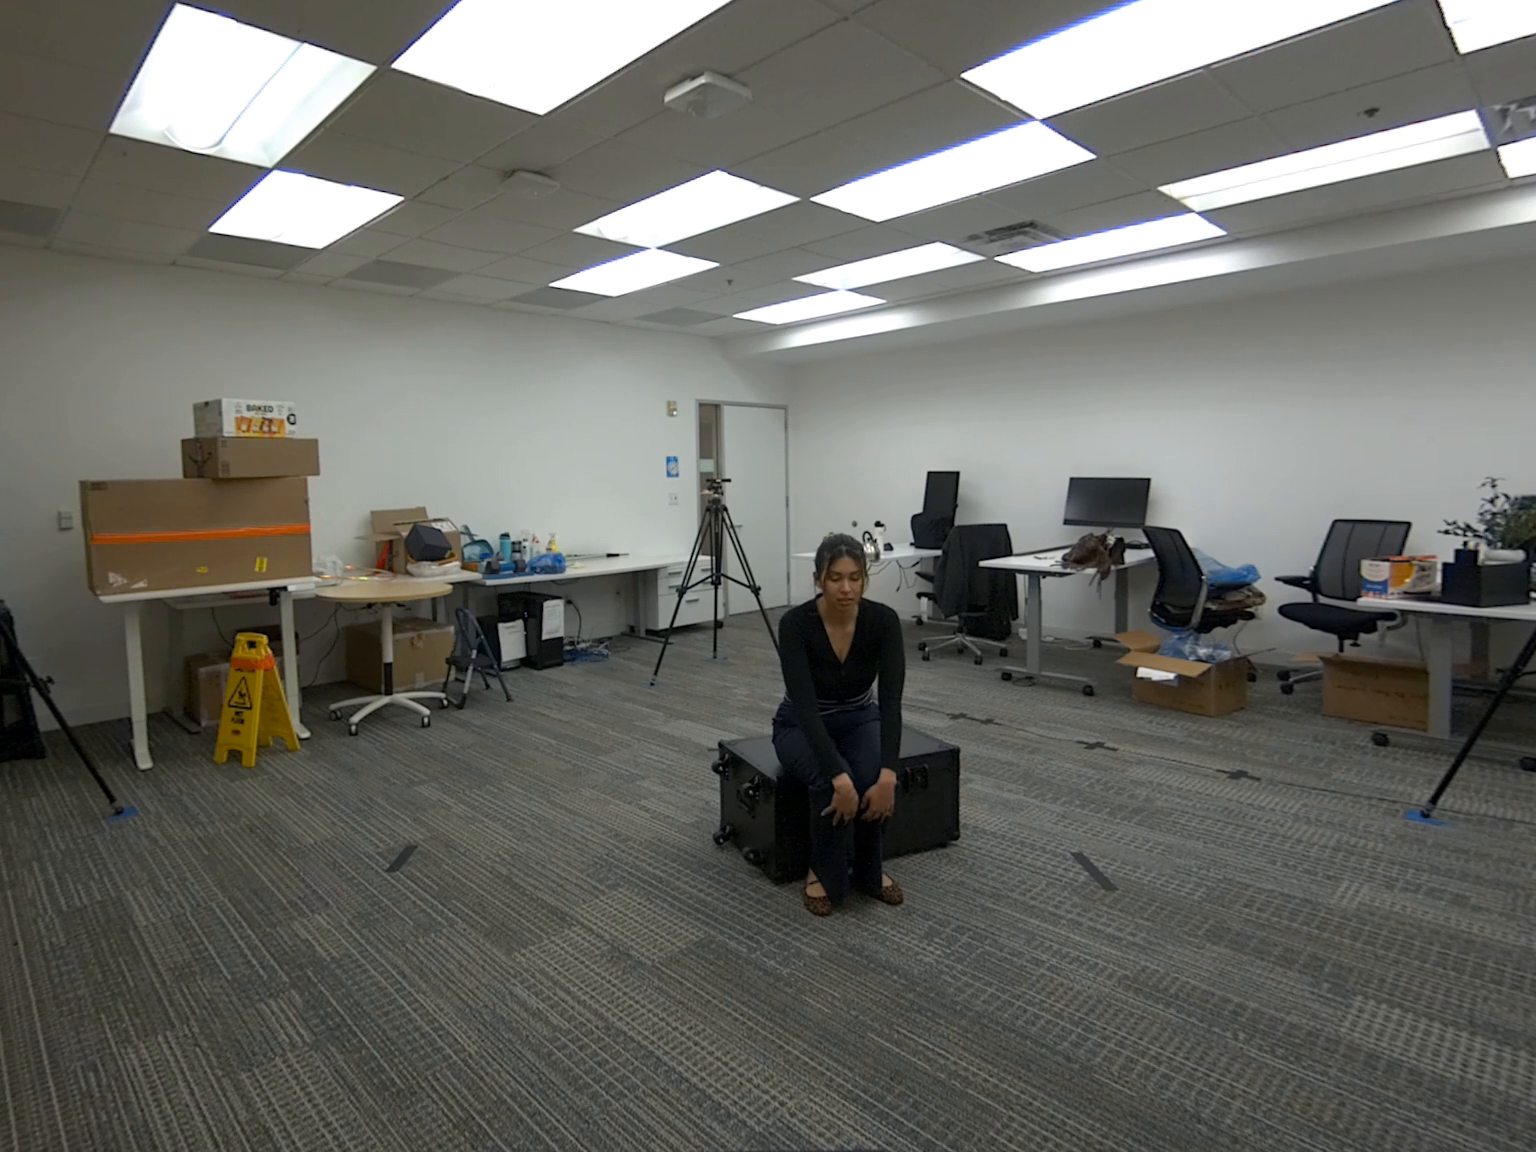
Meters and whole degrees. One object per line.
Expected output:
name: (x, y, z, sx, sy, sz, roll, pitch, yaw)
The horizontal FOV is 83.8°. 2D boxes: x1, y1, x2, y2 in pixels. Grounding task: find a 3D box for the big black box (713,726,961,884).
big black box: (0.294, 0.828, 3.289, 0.844, 0.395, 0.534, -4, 6, -25)
